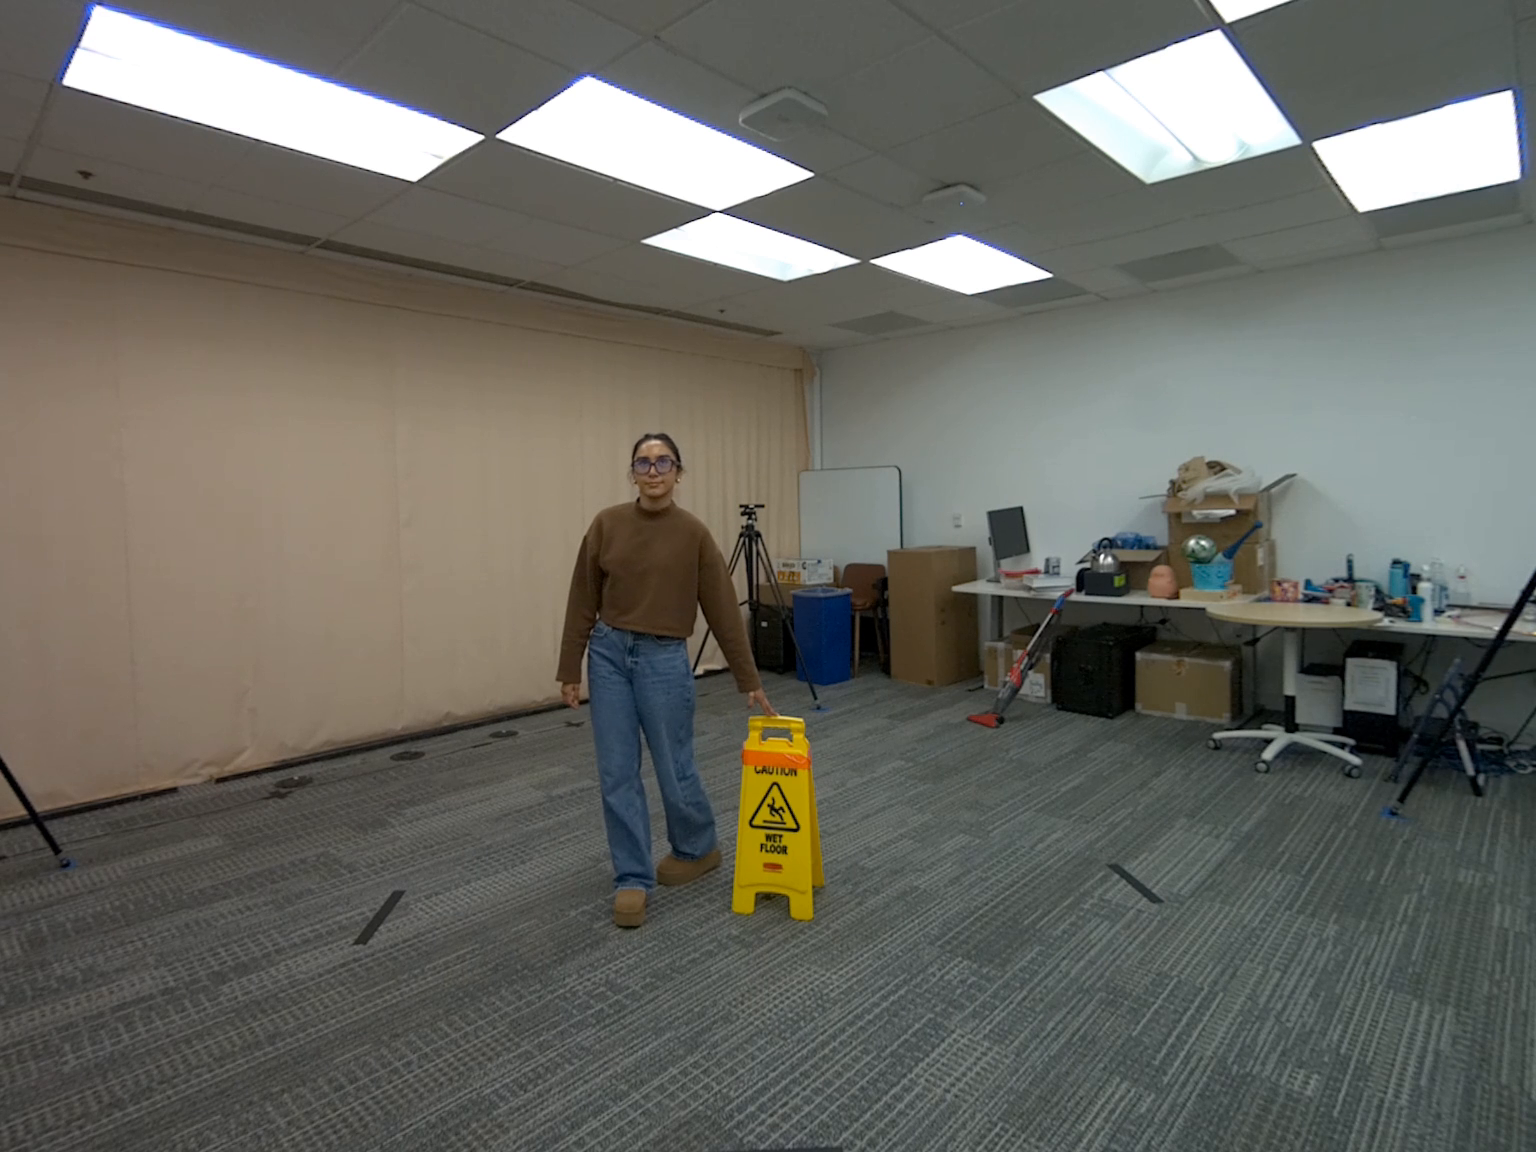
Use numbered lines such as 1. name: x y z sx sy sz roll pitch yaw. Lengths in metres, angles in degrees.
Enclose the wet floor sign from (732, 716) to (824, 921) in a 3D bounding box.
1. wet floor sign: 0.038 0.818 2.958 0.287 0.645 0.286 0 3 14
